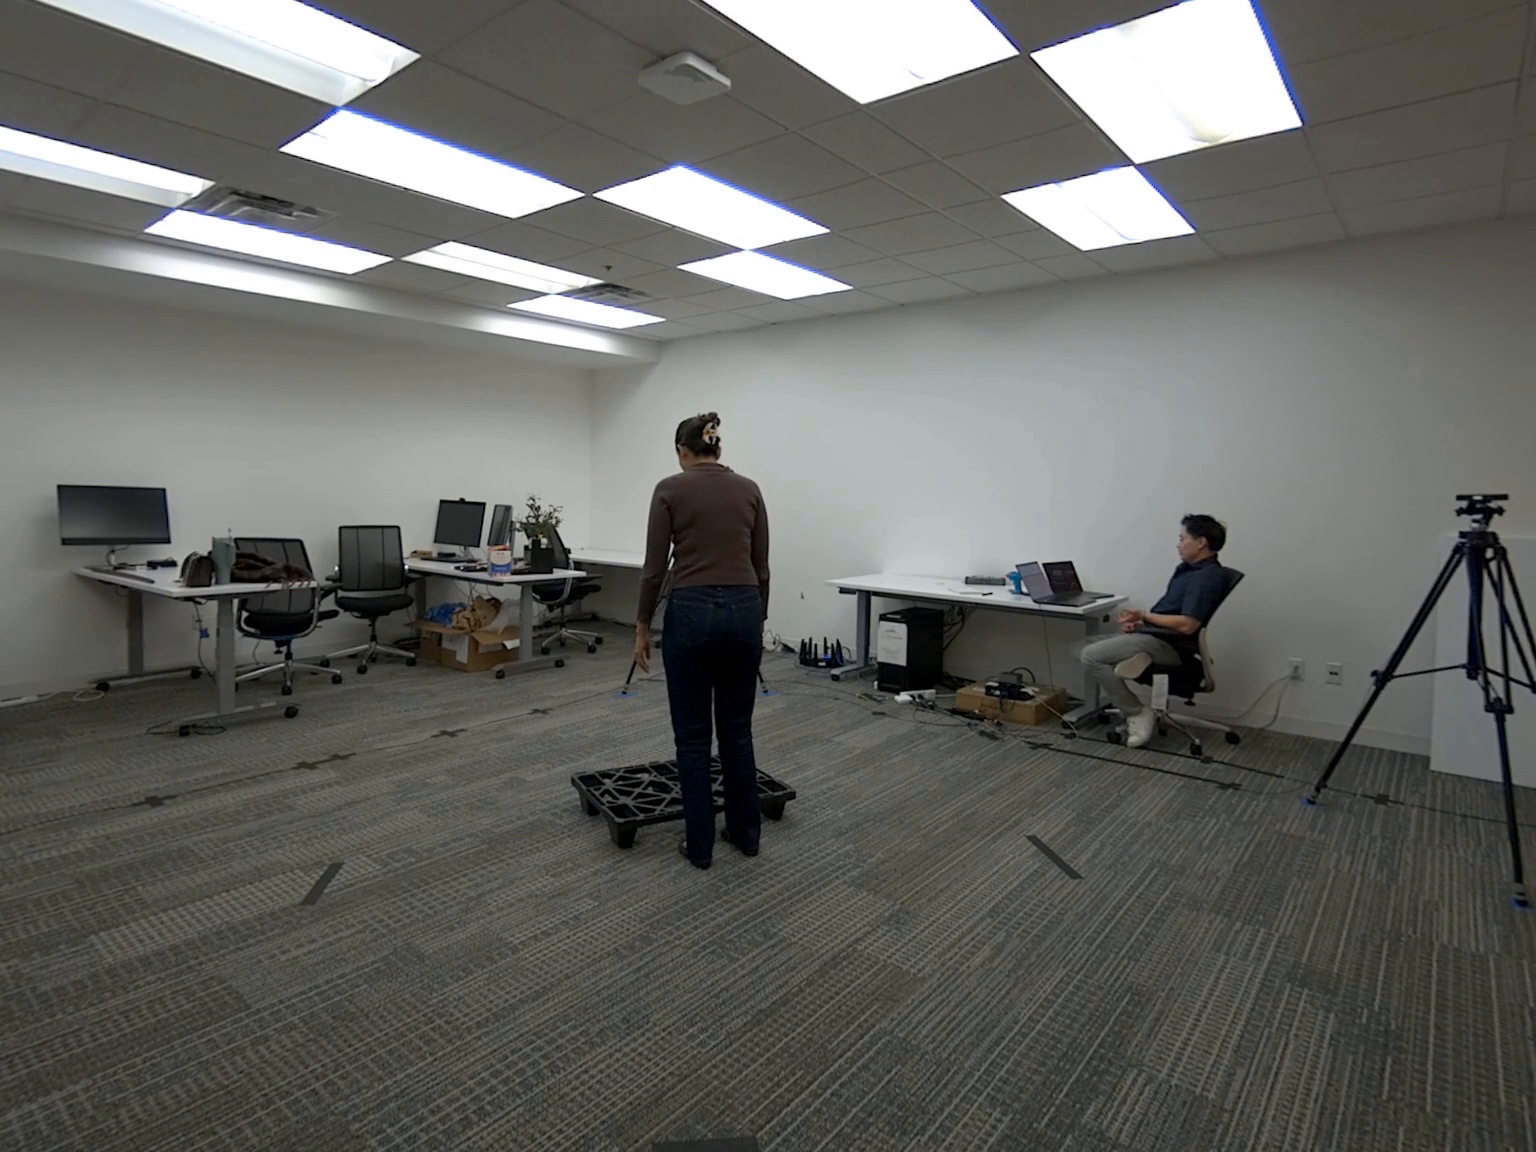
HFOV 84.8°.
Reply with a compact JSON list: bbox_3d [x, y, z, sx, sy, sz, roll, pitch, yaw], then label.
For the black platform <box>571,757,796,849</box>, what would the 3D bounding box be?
[{"bbox_3d":[-0.380,0.946,3.632,0.785,0.142,0.624,-3,7,-29],"label":"black platform"}]
